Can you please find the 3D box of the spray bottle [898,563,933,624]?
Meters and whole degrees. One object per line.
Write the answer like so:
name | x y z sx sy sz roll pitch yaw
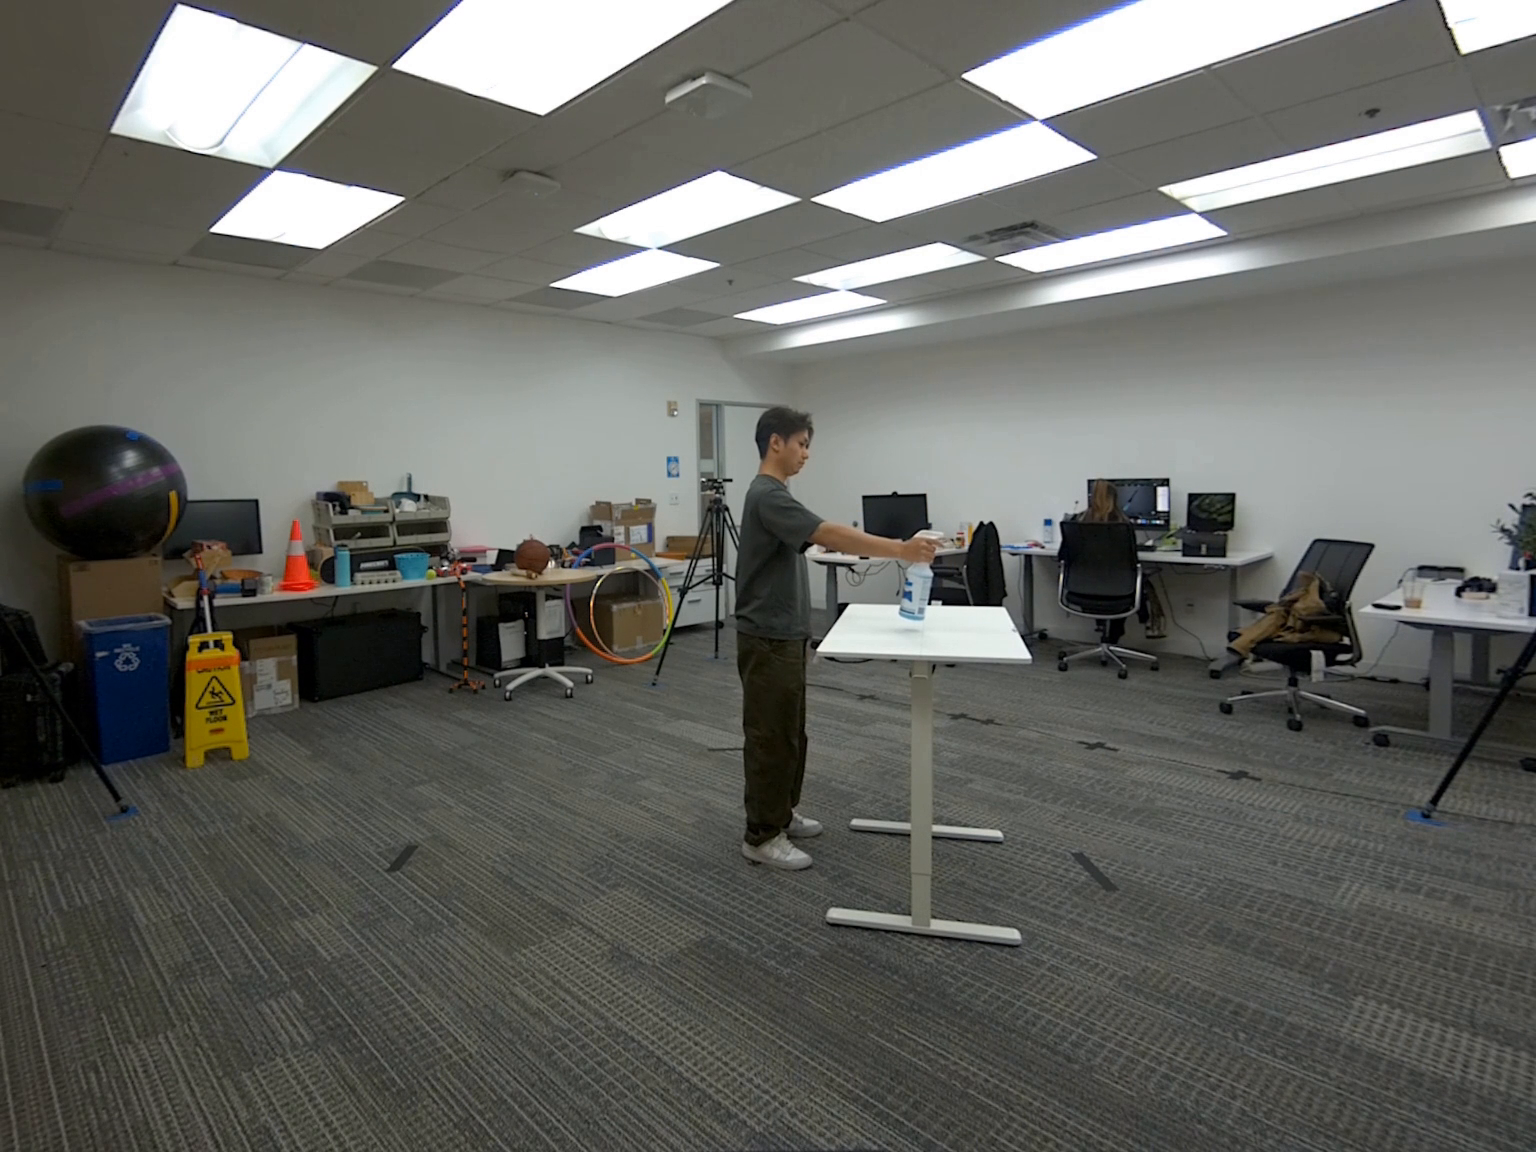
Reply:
spray bottle | 0.507 -0.004 2.819 0.093 0.296 0.085 14 9 34
